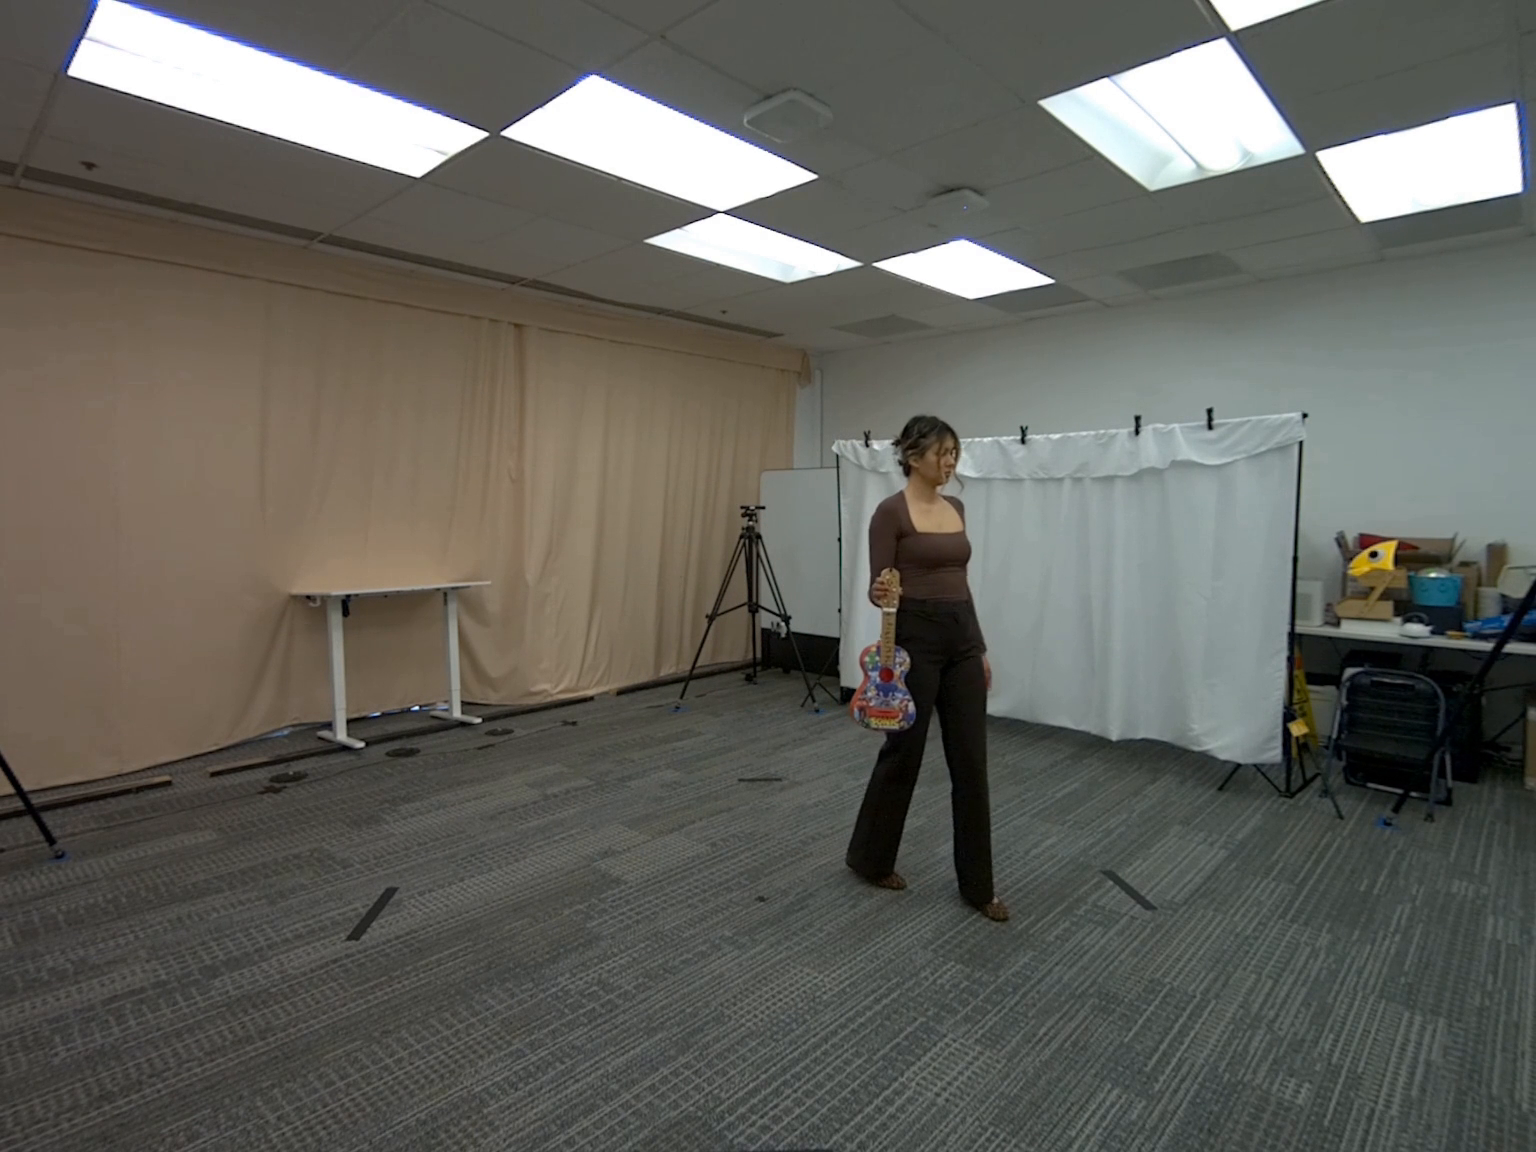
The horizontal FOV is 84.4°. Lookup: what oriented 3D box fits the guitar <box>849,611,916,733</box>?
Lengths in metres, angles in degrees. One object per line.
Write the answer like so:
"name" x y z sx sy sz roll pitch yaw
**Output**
"guitar" 0.399 0.236 2.619 0.193 0.498 0.070 9 -4 1
